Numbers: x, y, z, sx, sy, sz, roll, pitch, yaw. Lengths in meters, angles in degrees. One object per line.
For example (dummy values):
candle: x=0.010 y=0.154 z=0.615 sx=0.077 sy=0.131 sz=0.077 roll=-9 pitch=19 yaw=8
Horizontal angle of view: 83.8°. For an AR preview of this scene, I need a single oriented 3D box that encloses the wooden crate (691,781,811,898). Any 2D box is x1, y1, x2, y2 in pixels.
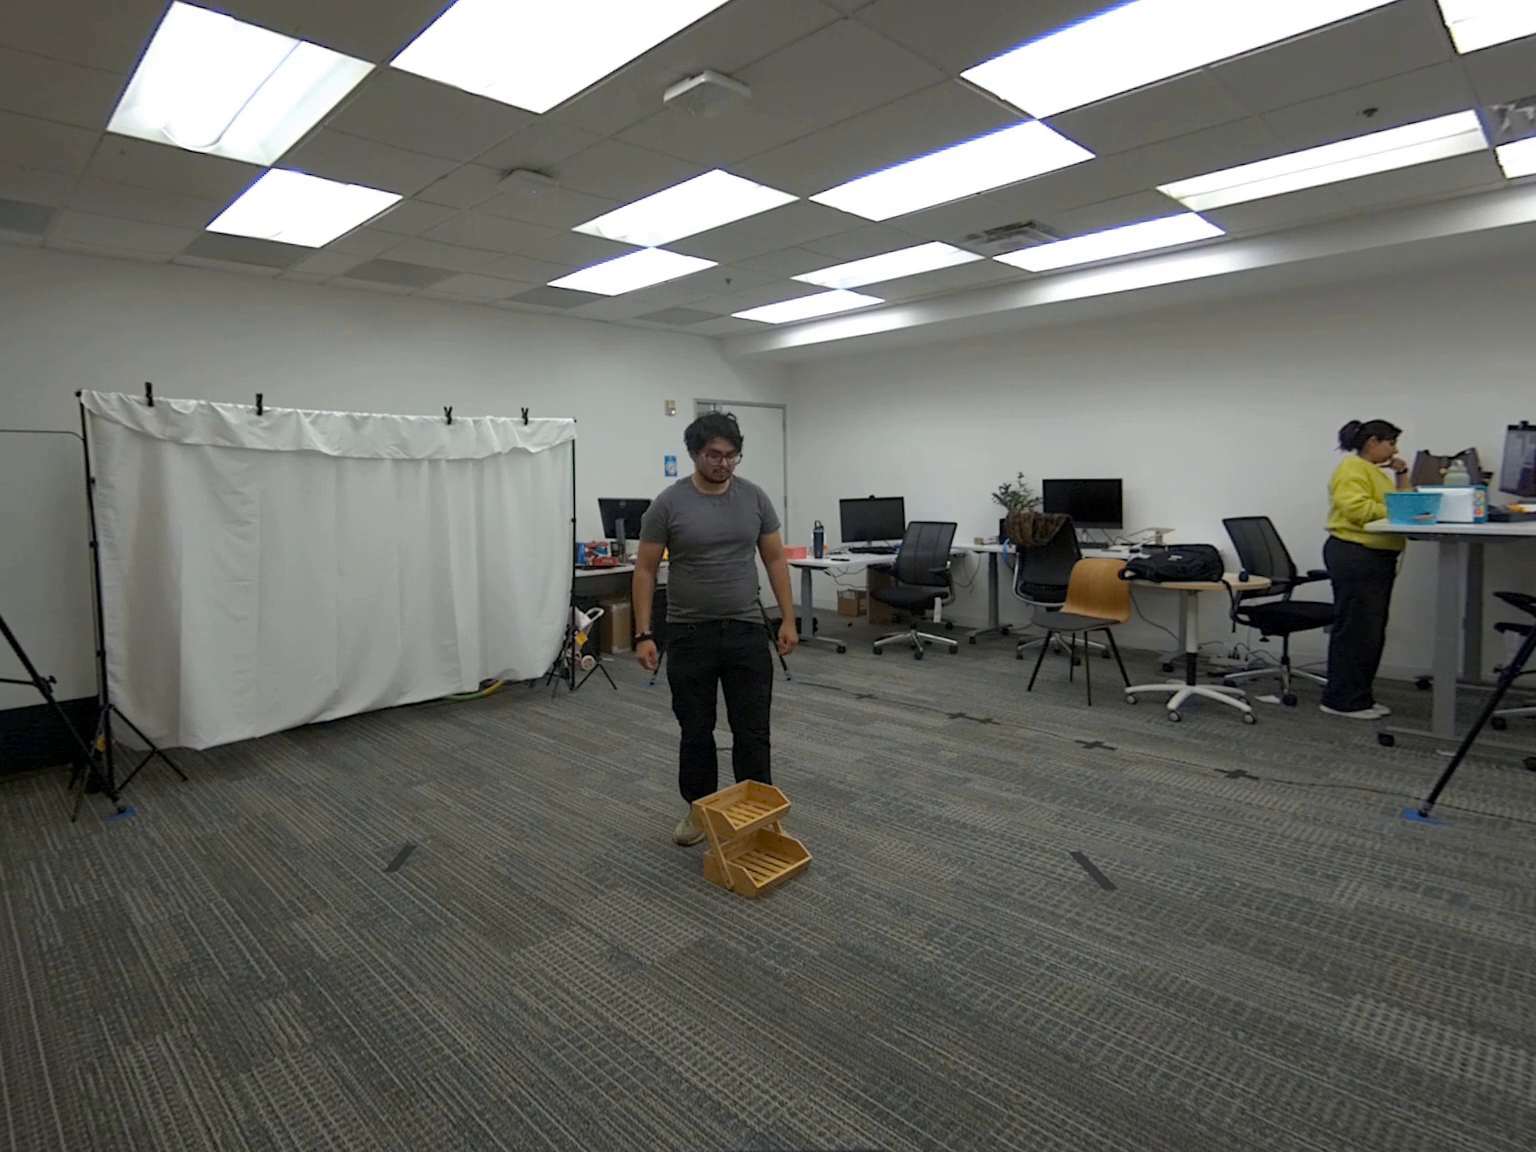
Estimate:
wooden crate: x=-0.050 y=0.920 z=3.025 sx=0.311 sy=0.272 sz=0.316 roll=2 pitch=6 yaw=40
